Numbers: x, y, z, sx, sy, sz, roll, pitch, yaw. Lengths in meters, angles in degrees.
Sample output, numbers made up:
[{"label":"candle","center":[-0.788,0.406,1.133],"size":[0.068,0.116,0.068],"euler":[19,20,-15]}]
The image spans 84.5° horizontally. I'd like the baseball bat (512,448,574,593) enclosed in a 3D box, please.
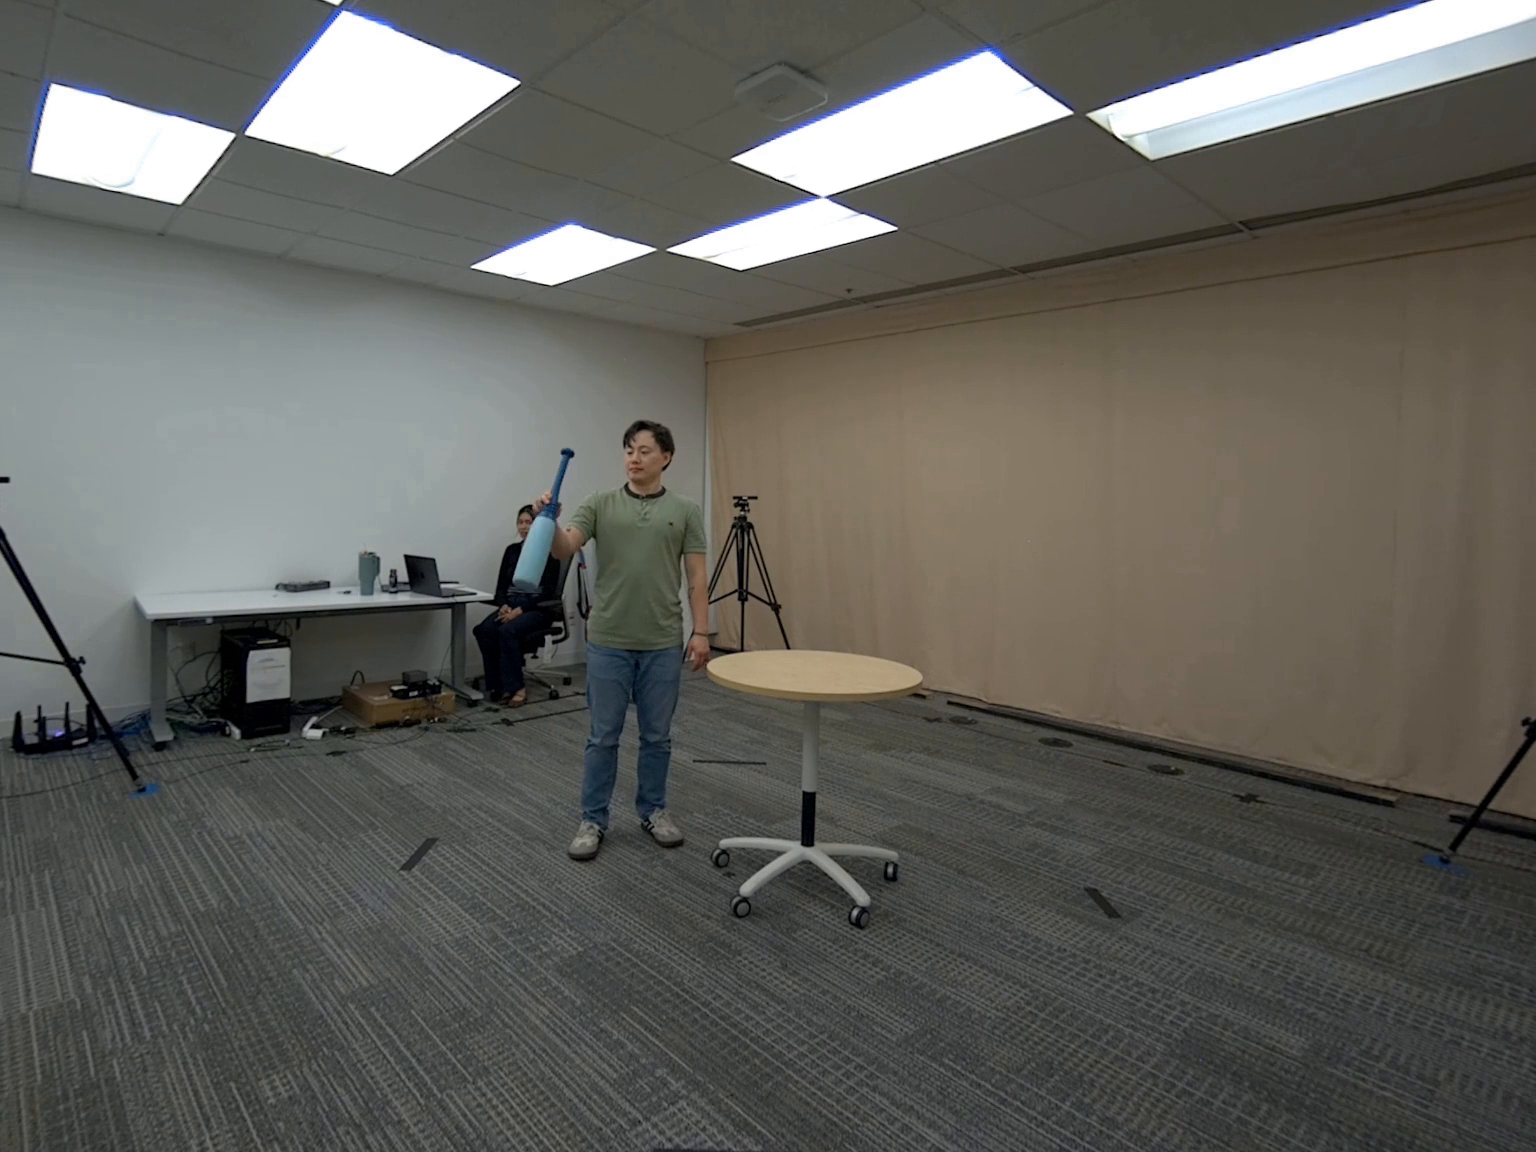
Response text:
[{"label":"baseball bat","center":[-0.766,-0.211,2.883],"size":[0.089,0.551,0.087],"euler":[7,-26,2]}]
